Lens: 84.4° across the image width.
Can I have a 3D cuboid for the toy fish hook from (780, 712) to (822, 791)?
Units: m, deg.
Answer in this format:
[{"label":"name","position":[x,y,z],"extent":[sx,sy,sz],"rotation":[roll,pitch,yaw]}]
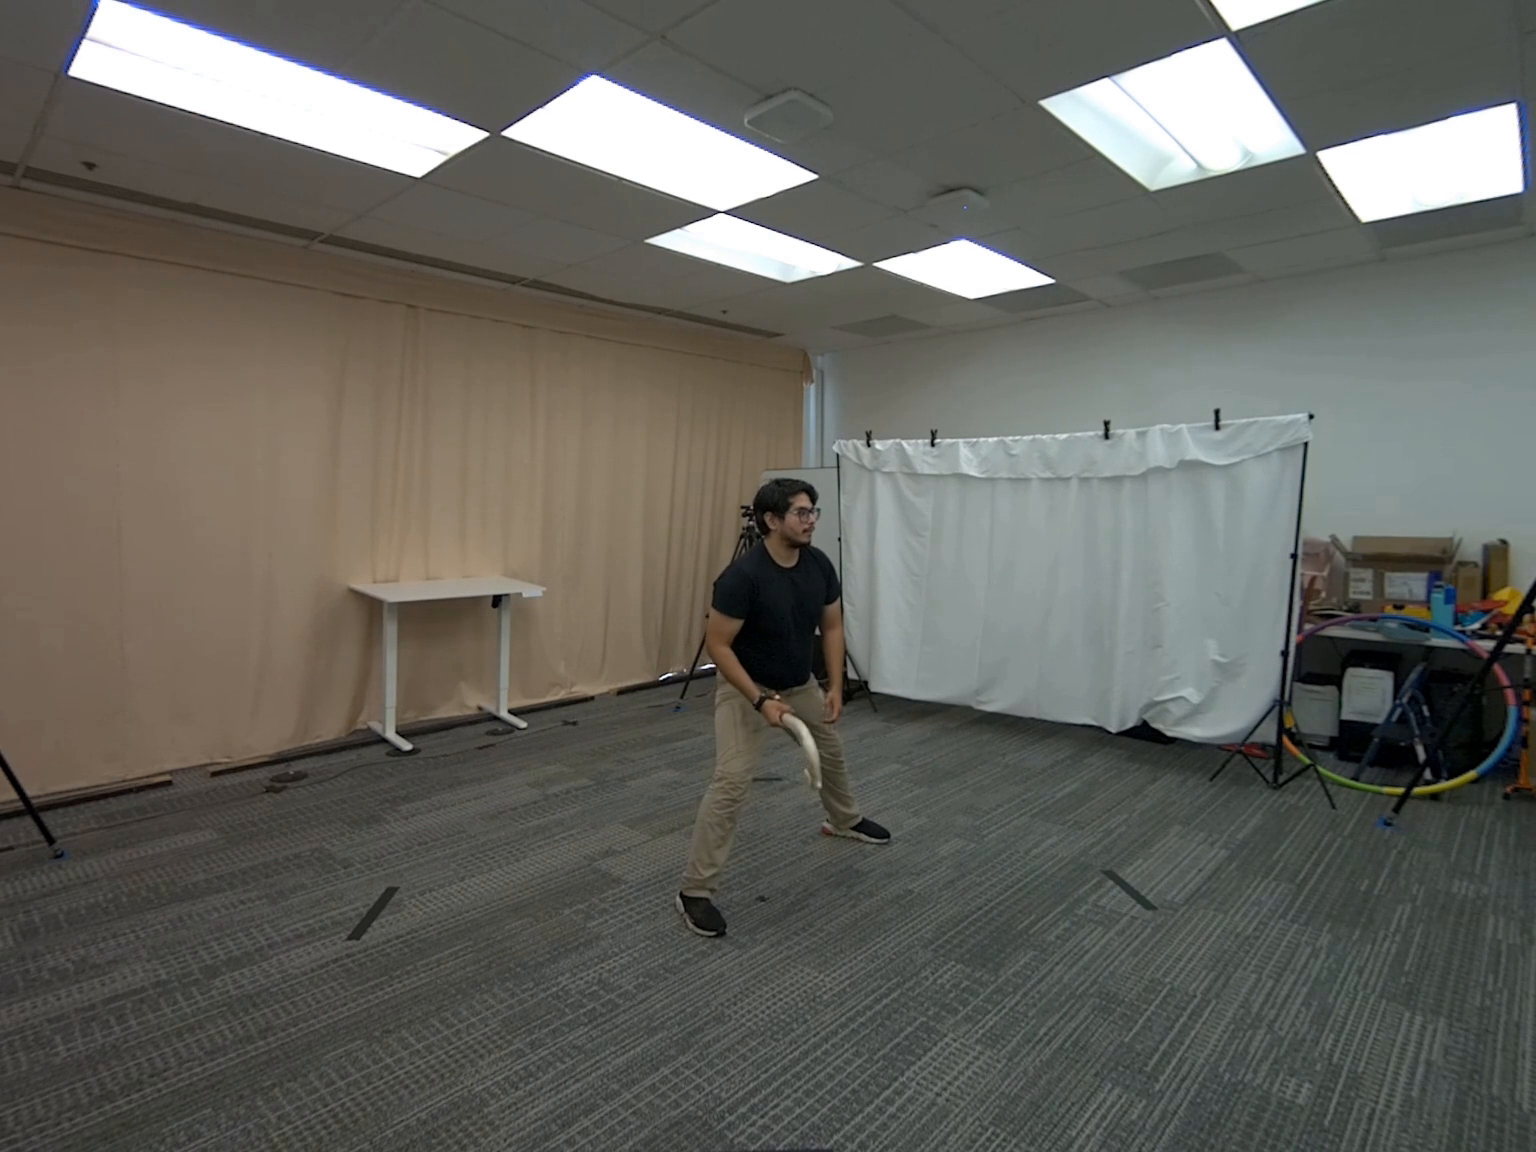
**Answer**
[{"label":"toy fish hook","position":[0.089,0.530,2.758],"extent":[0.048,0.222,0.517],"rotation":[-9,16,-12]}]
